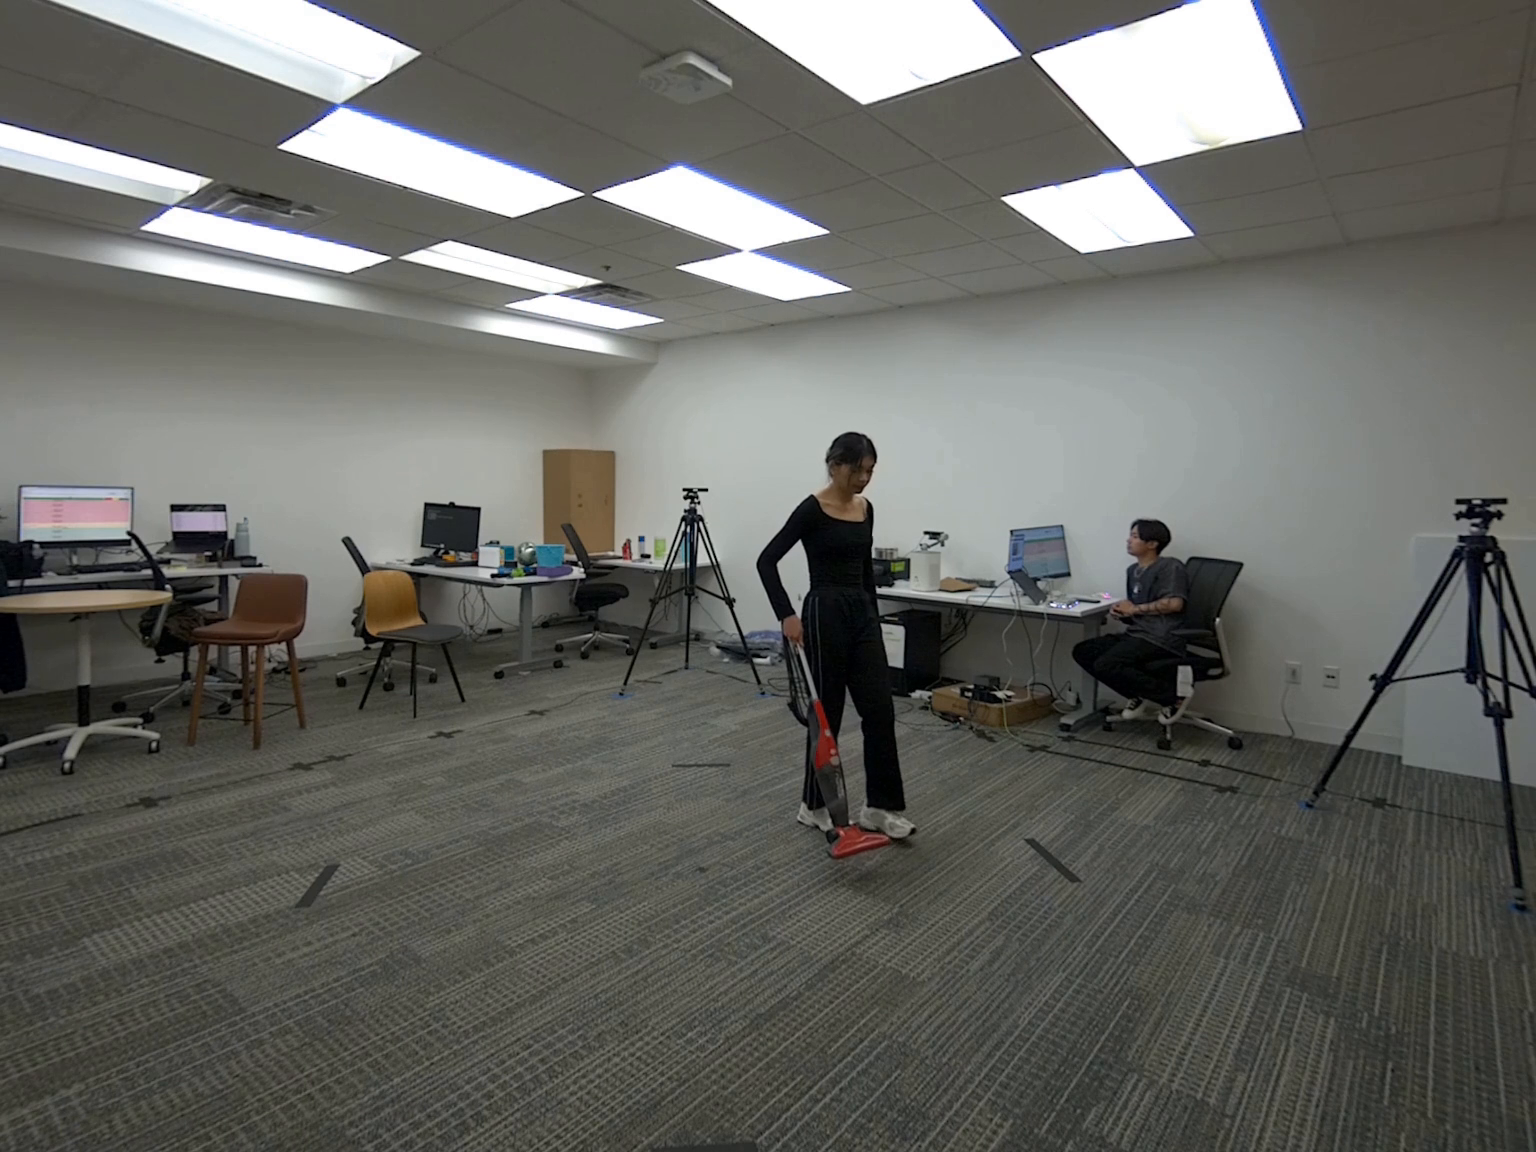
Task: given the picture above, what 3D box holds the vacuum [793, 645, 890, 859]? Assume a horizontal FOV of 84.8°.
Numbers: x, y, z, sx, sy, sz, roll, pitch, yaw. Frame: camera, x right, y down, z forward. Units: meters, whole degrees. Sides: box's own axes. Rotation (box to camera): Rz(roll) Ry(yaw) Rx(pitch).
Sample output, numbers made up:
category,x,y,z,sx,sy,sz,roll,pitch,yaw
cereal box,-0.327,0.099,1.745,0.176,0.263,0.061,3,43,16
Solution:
category,x,y,z,sx,sy,sz,roll,pitch,yaw
vacuum,0.158,0.504,3.262,0.246,1.075,0.144,-6,-23,-29
